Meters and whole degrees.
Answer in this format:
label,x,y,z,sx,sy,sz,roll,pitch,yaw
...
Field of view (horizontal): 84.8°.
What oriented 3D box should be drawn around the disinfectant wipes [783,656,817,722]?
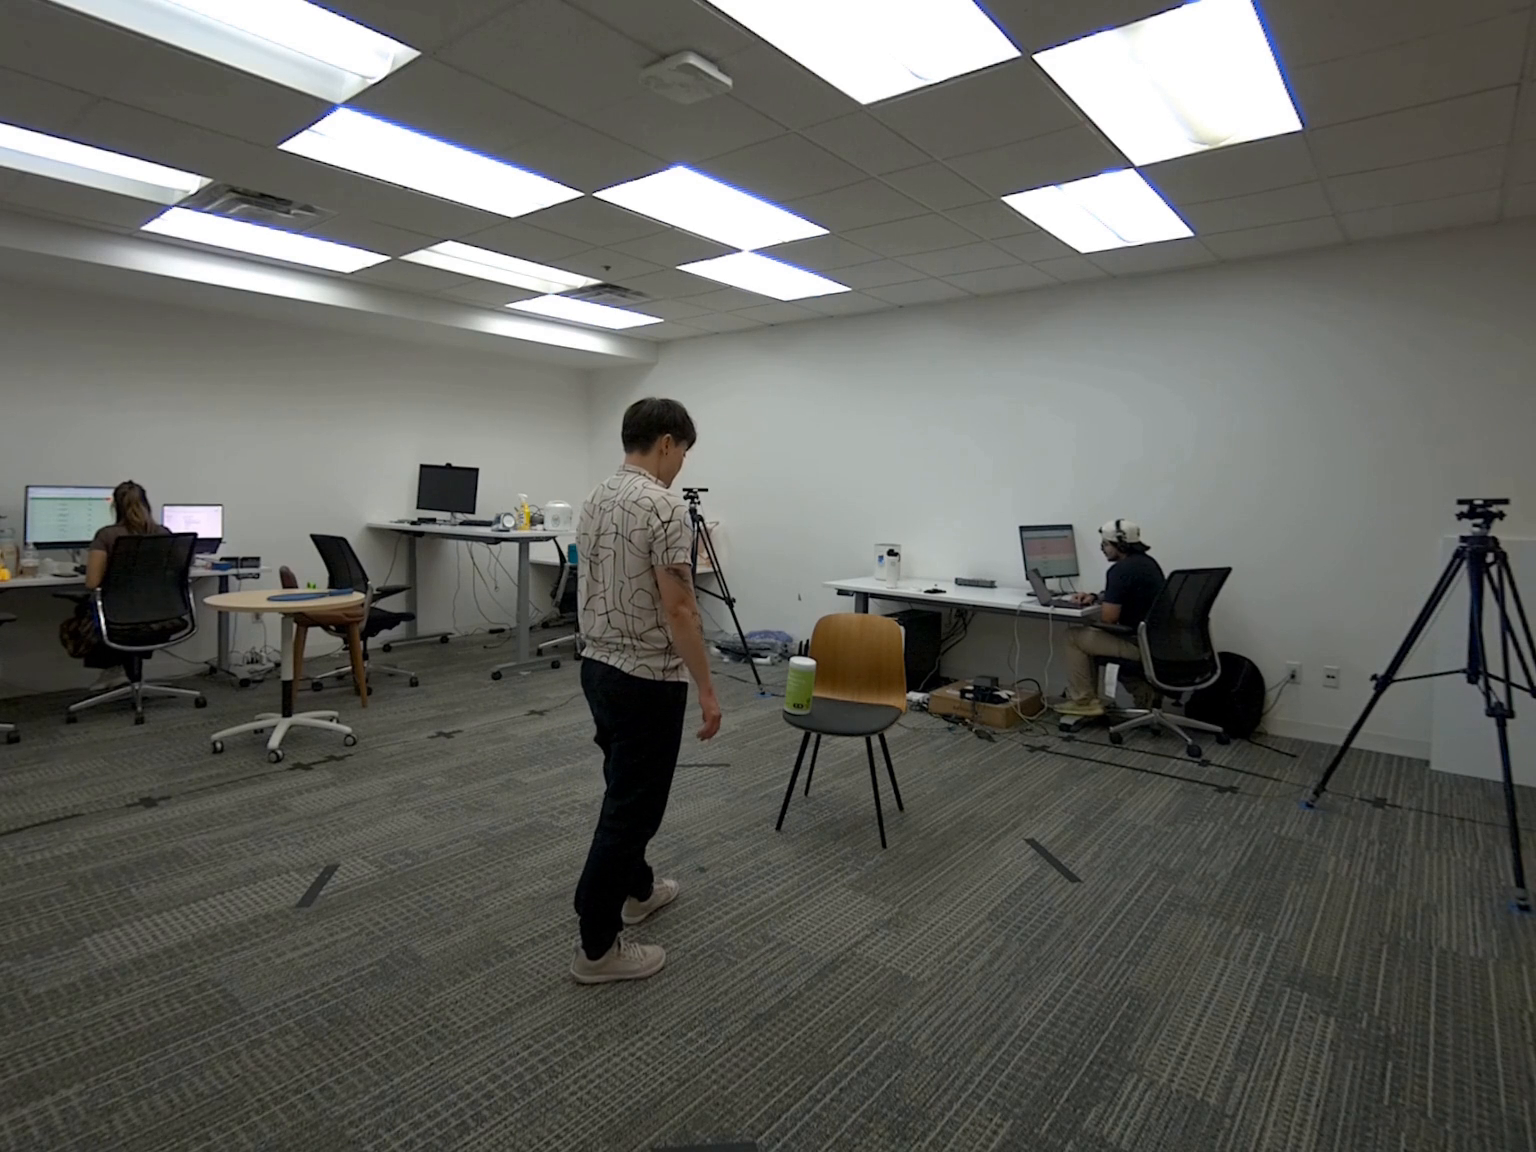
label,x,y,z,sx,sy,sz,roll,pitch,yaw
disinfectant wipes,0.125,0.445,3.472,0.117,0.216,0.119,6,9,-3
